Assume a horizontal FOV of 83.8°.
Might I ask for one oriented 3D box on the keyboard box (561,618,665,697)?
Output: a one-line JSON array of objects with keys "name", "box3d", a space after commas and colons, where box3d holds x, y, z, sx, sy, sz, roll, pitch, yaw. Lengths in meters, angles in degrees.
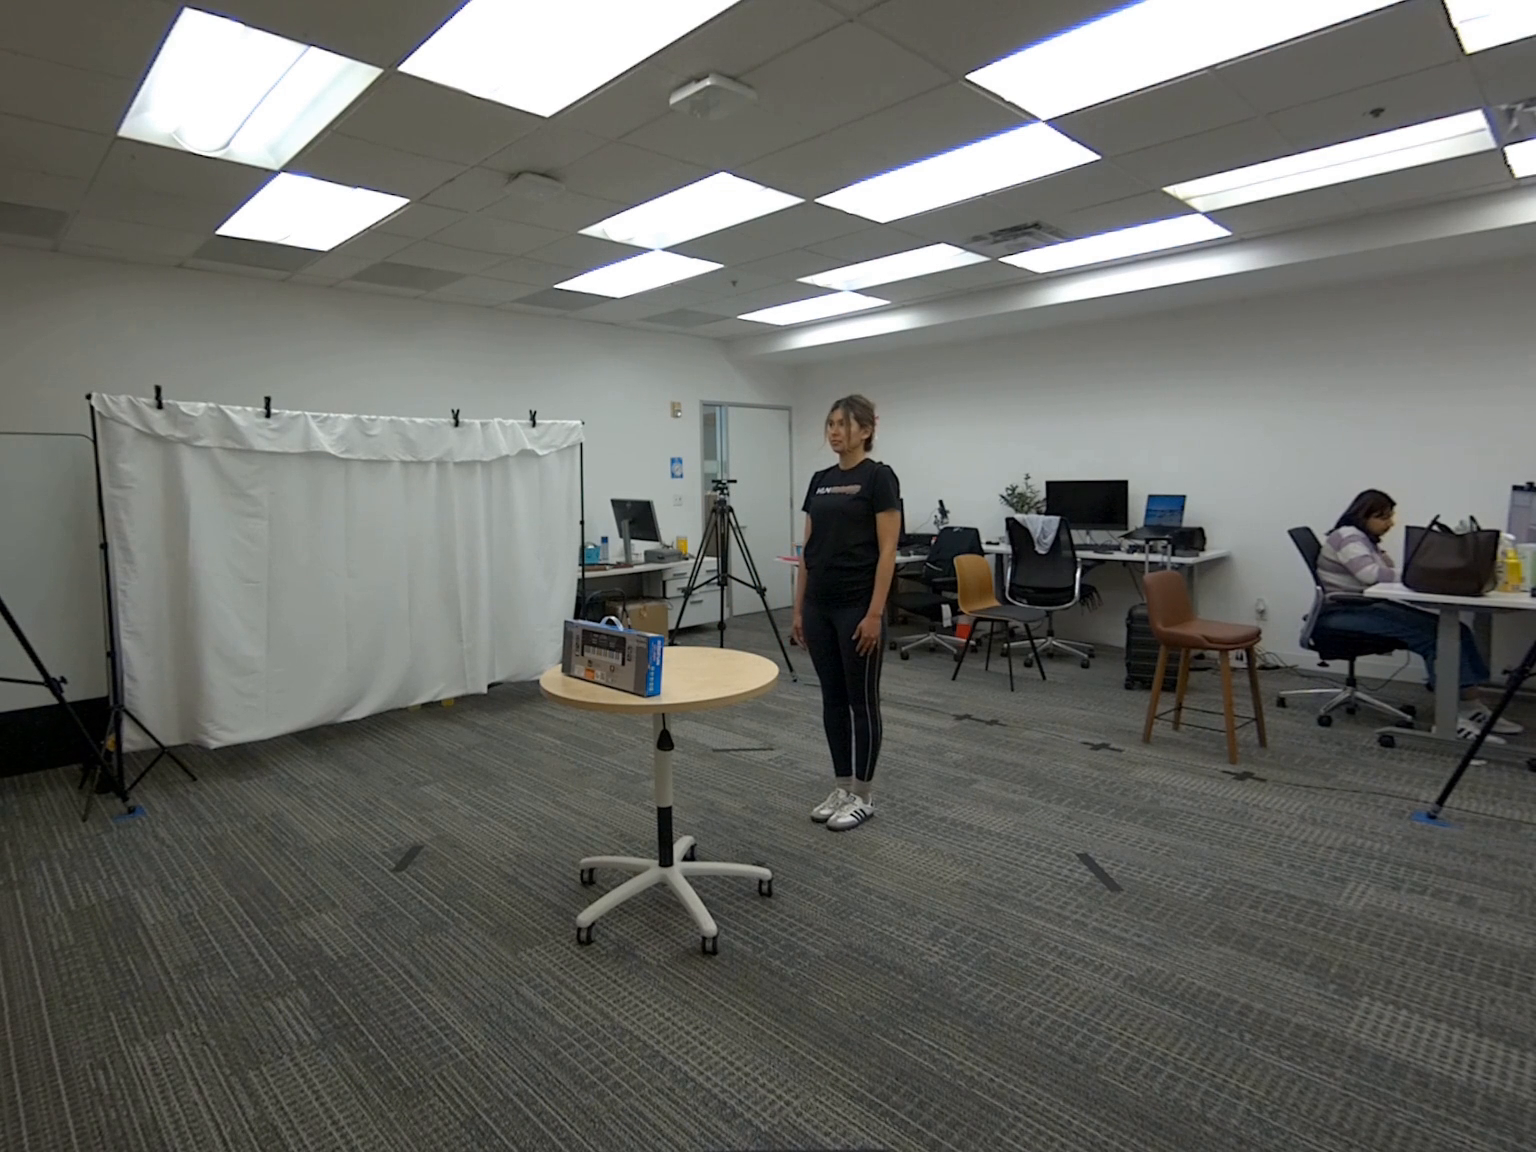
[{"name": "keyboard box", "box3d": [-0.482, 0.245, 2.614, 0.450, 0.176, 0.057, 5, 2, 45]}]
